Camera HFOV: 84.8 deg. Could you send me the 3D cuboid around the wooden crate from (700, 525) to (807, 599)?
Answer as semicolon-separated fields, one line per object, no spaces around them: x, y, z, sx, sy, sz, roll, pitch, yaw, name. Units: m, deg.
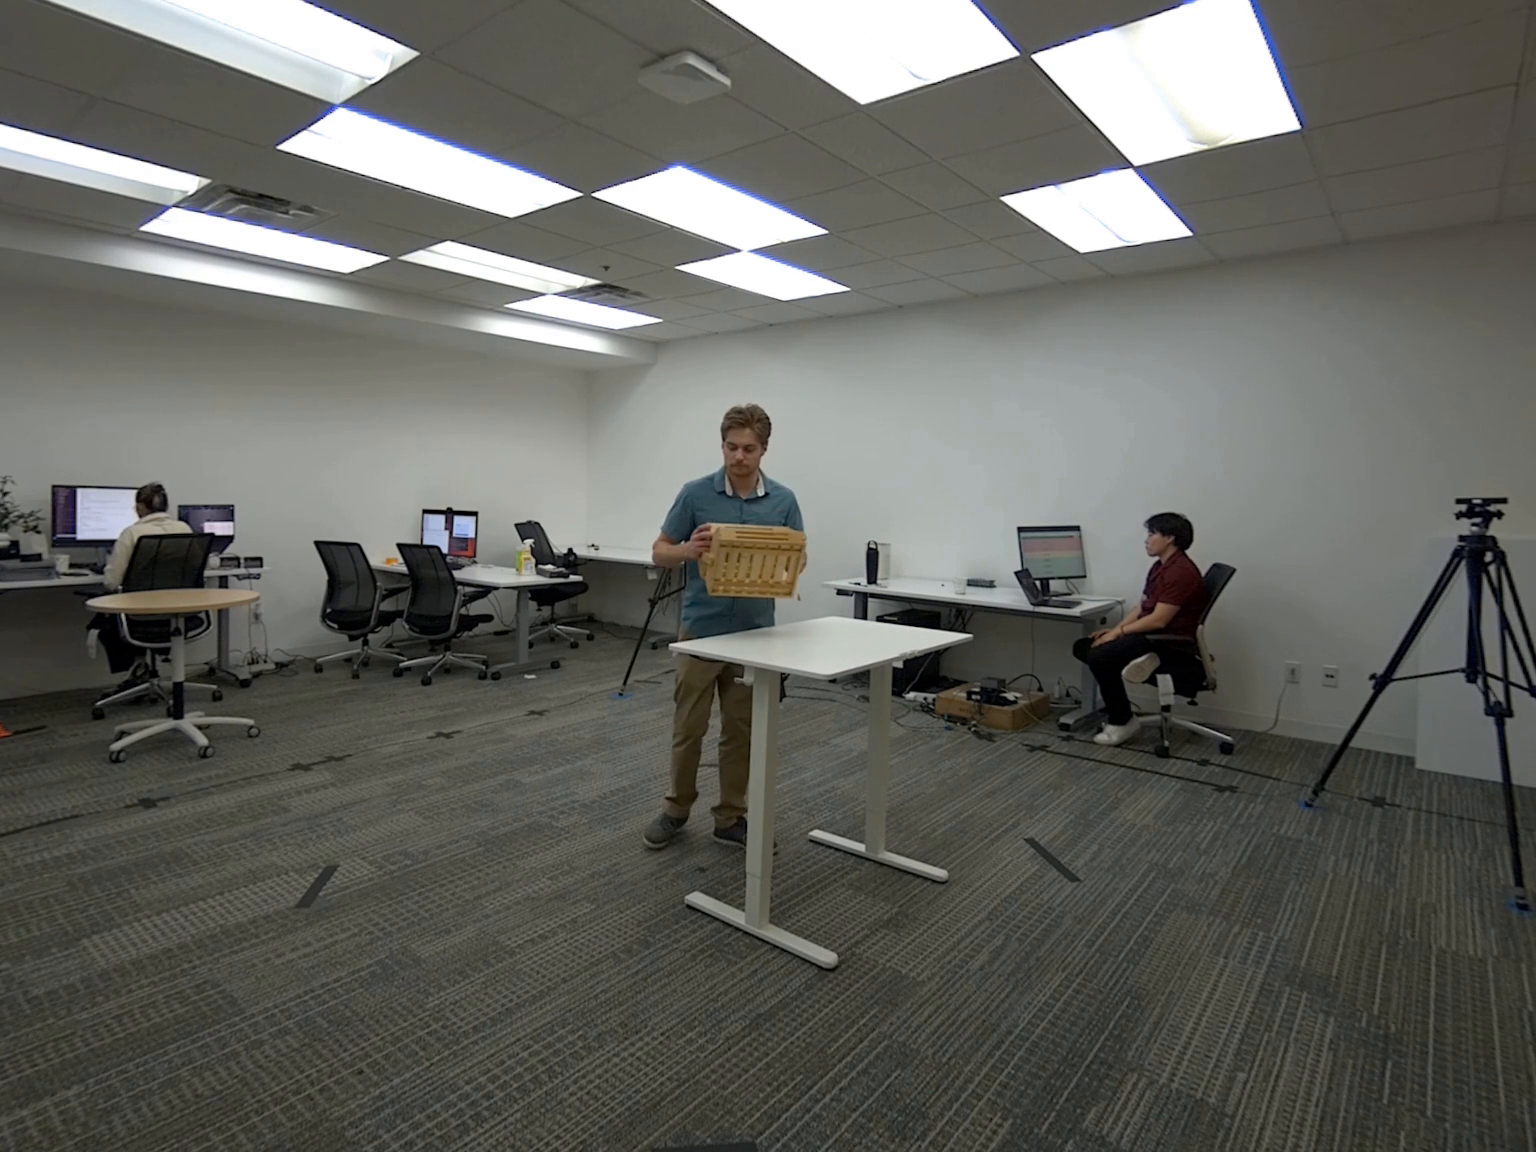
-0.081;-0.089;2.991;0.320;0.296;0.282;2;33;-13;wooden crate
